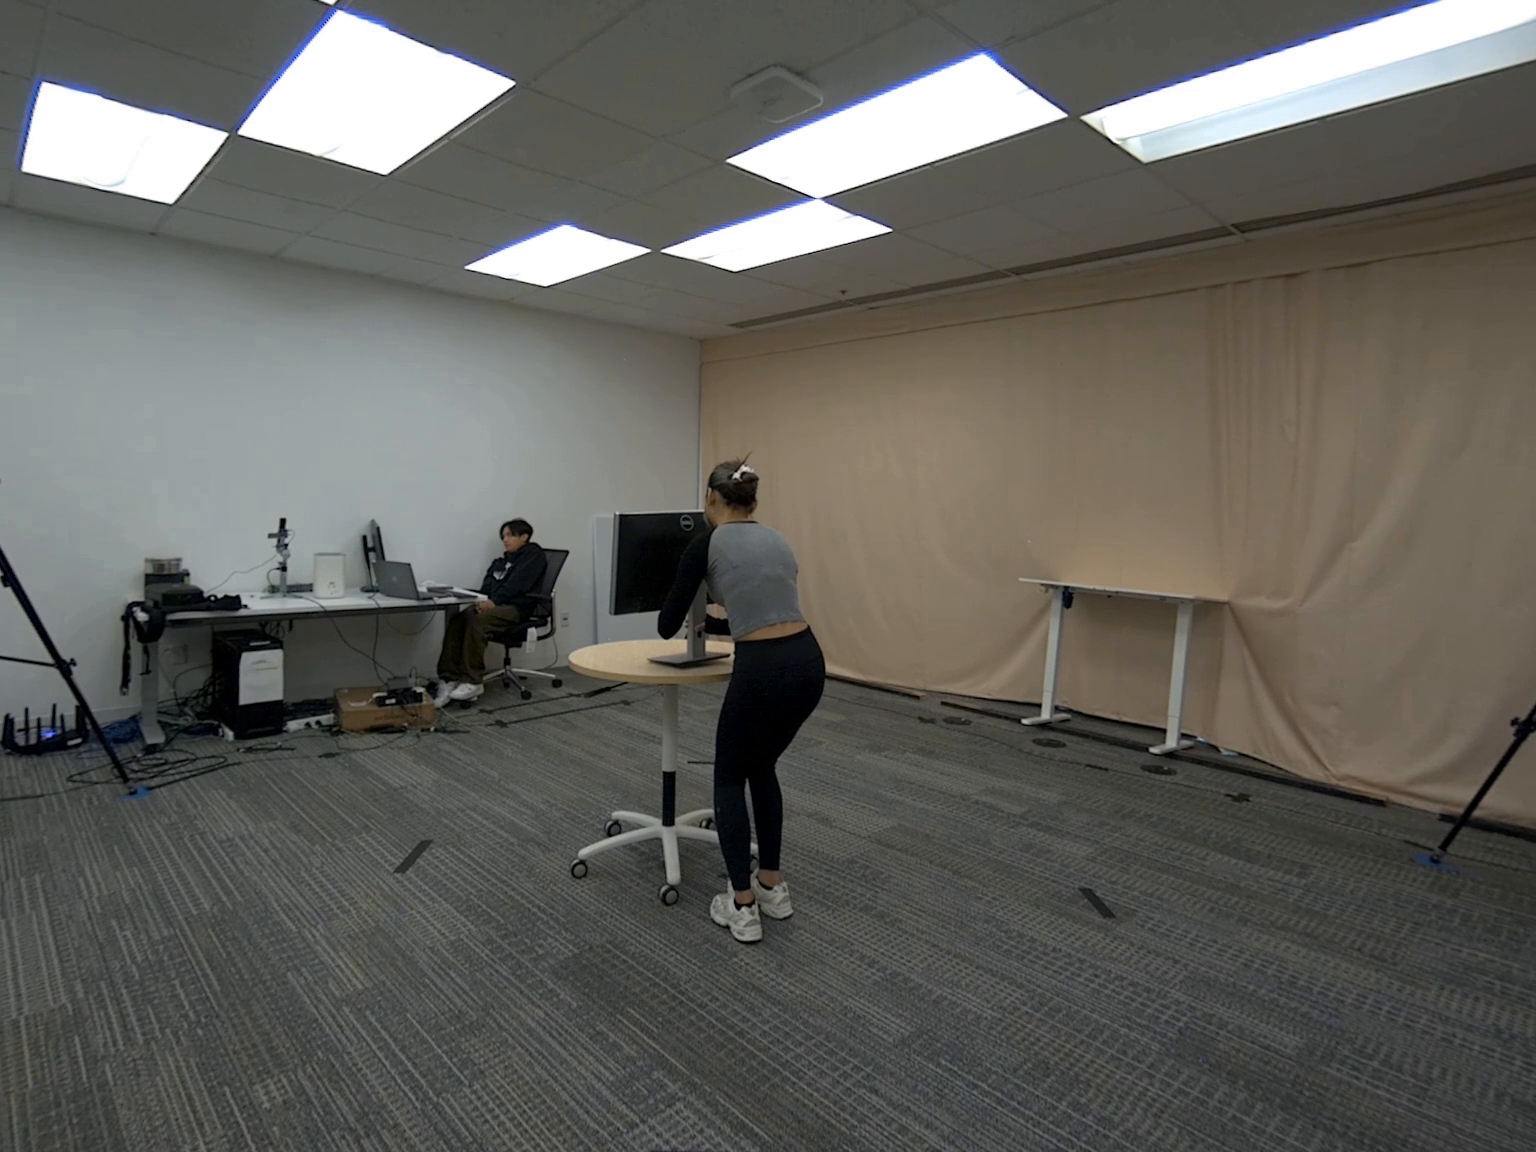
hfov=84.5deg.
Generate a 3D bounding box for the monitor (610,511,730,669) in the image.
[{"bbox_3d":[-0.303,0.037,3.049,0.527,0.522,0.191,-4,0,-41],"label":"monitor"}]
